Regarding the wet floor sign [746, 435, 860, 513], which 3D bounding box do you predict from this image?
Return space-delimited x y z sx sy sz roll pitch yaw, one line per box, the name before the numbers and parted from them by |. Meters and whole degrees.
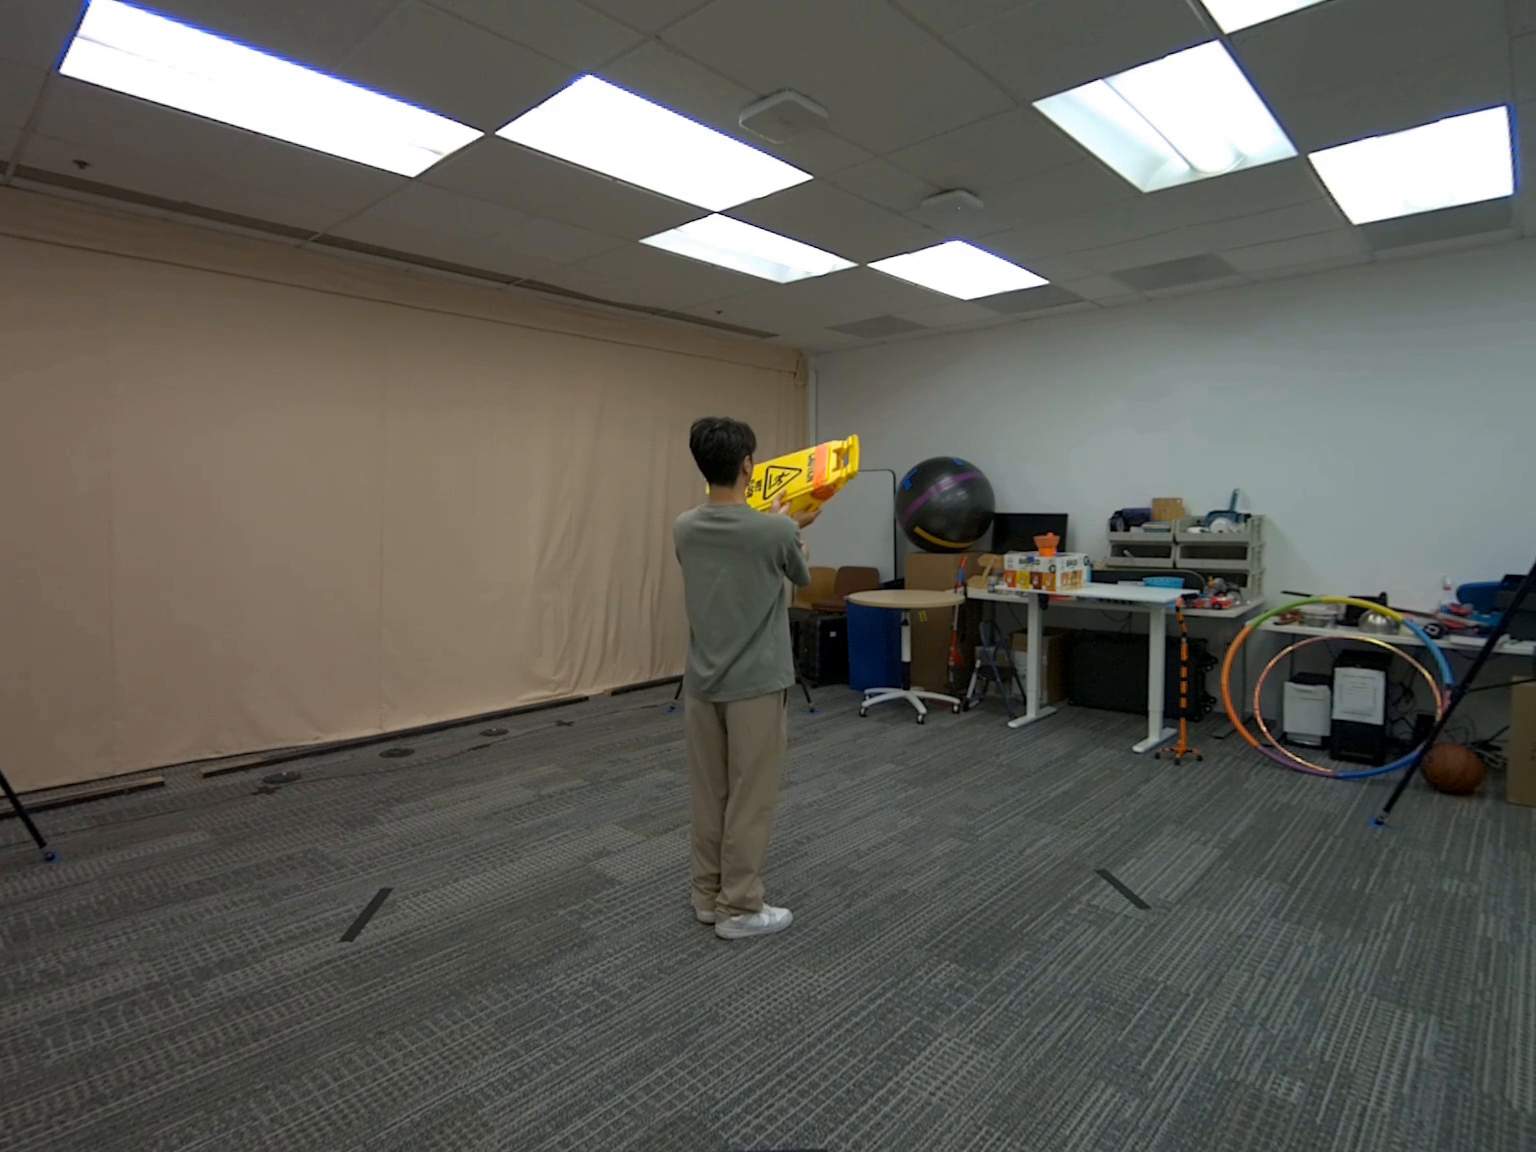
wet floor sign | 0.079 -0.321 3.191 0.658 0.286 0.281 -26 -51 35
